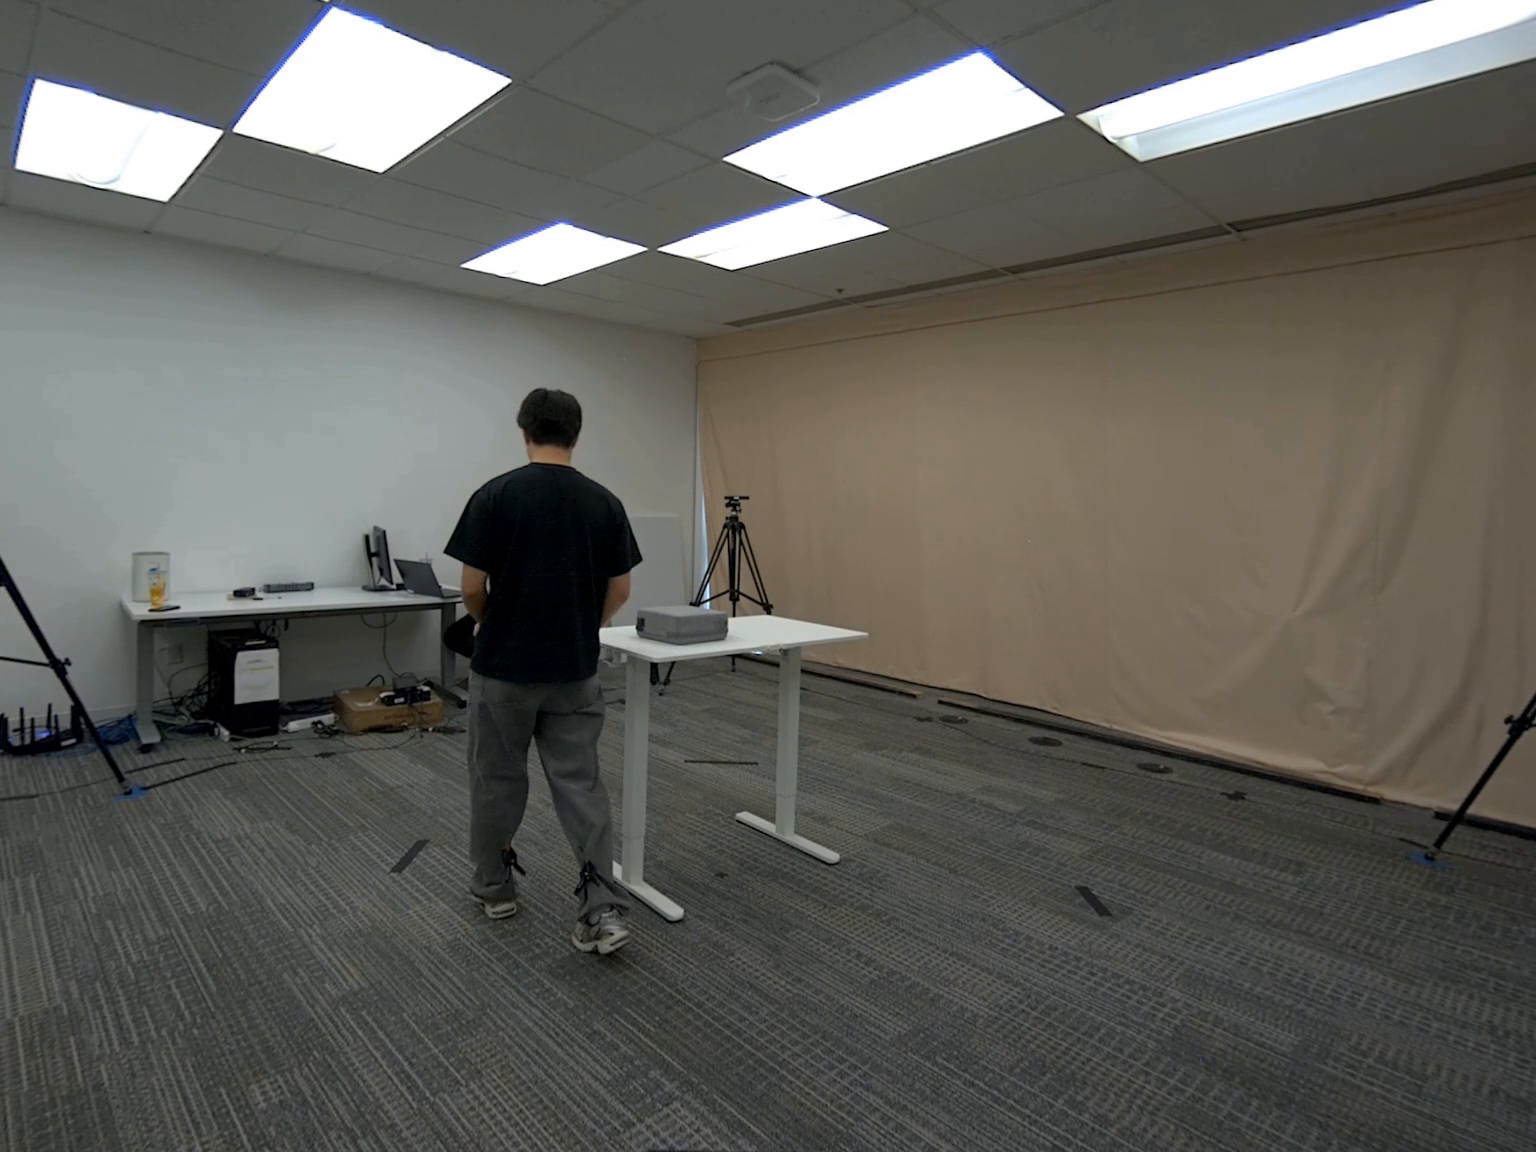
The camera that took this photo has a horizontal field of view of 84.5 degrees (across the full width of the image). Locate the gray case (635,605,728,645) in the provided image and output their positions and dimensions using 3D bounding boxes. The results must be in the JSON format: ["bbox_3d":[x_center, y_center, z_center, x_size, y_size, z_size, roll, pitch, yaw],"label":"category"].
[{"bbox_3d":[-0.303,0.172,3.025,0.270,0.103,0.280,6,6,45],"label":"gray case"}]
